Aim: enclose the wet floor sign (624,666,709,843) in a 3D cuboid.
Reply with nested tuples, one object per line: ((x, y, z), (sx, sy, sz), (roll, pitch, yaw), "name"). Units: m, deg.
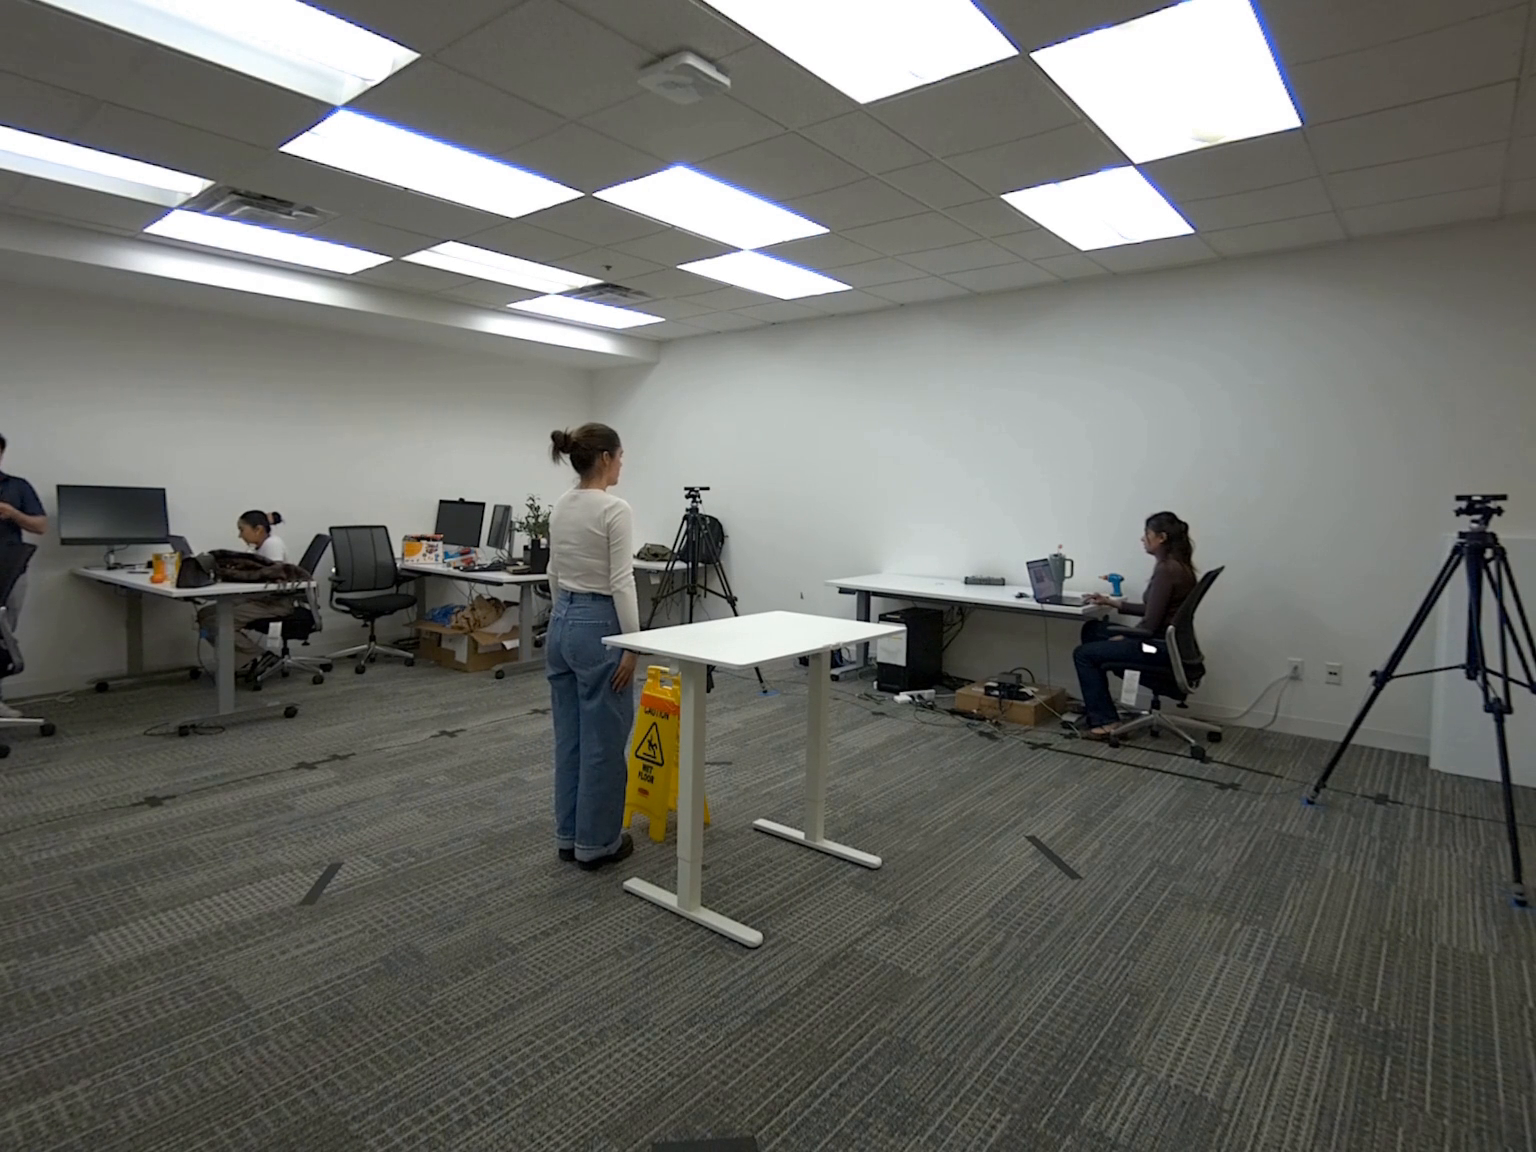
((-0.440, 0.698, 3.505), (0.292, 0.644, 0.281), (4, 5, 41), "wet floor sign")
